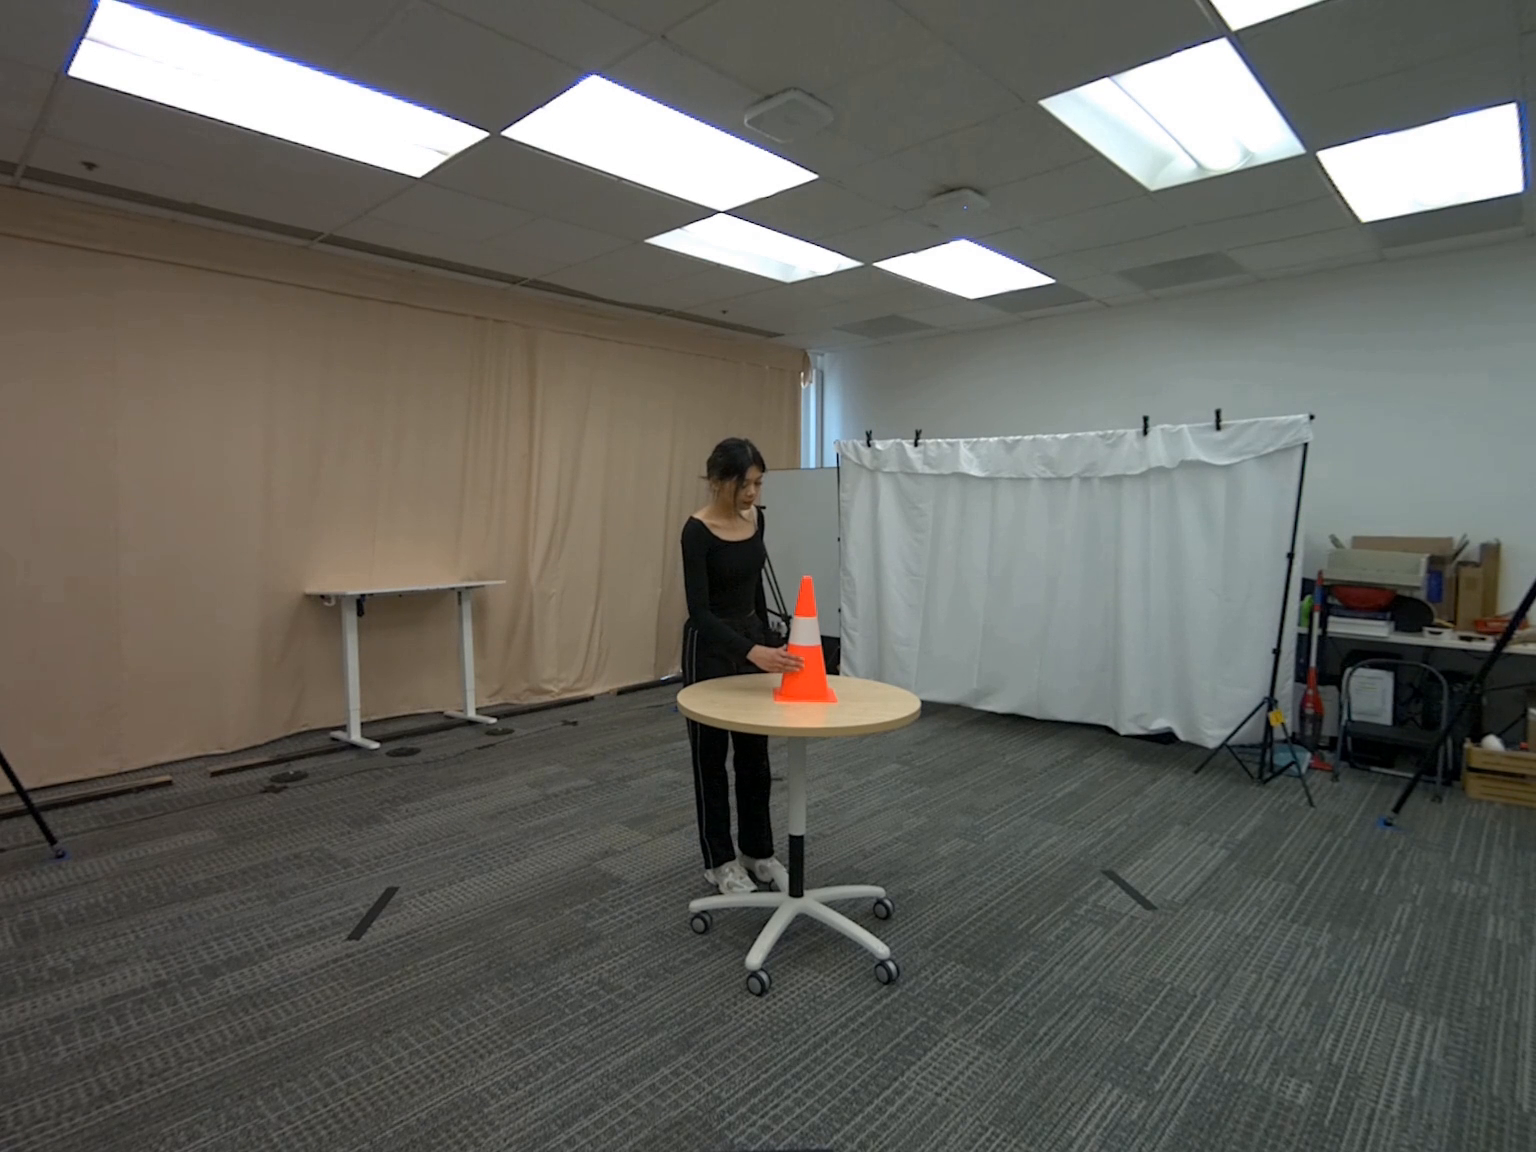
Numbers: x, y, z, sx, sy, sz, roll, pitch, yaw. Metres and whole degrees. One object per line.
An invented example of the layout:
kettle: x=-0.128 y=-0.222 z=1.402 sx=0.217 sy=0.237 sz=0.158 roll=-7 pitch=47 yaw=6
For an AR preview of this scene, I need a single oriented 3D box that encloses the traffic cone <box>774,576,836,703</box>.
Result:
traffic cone: x=0.130 y=0.196 z=2.690 sx=0.206 sy=0.383 sz=0.203 roll=2 pitch=3 yaw=3
